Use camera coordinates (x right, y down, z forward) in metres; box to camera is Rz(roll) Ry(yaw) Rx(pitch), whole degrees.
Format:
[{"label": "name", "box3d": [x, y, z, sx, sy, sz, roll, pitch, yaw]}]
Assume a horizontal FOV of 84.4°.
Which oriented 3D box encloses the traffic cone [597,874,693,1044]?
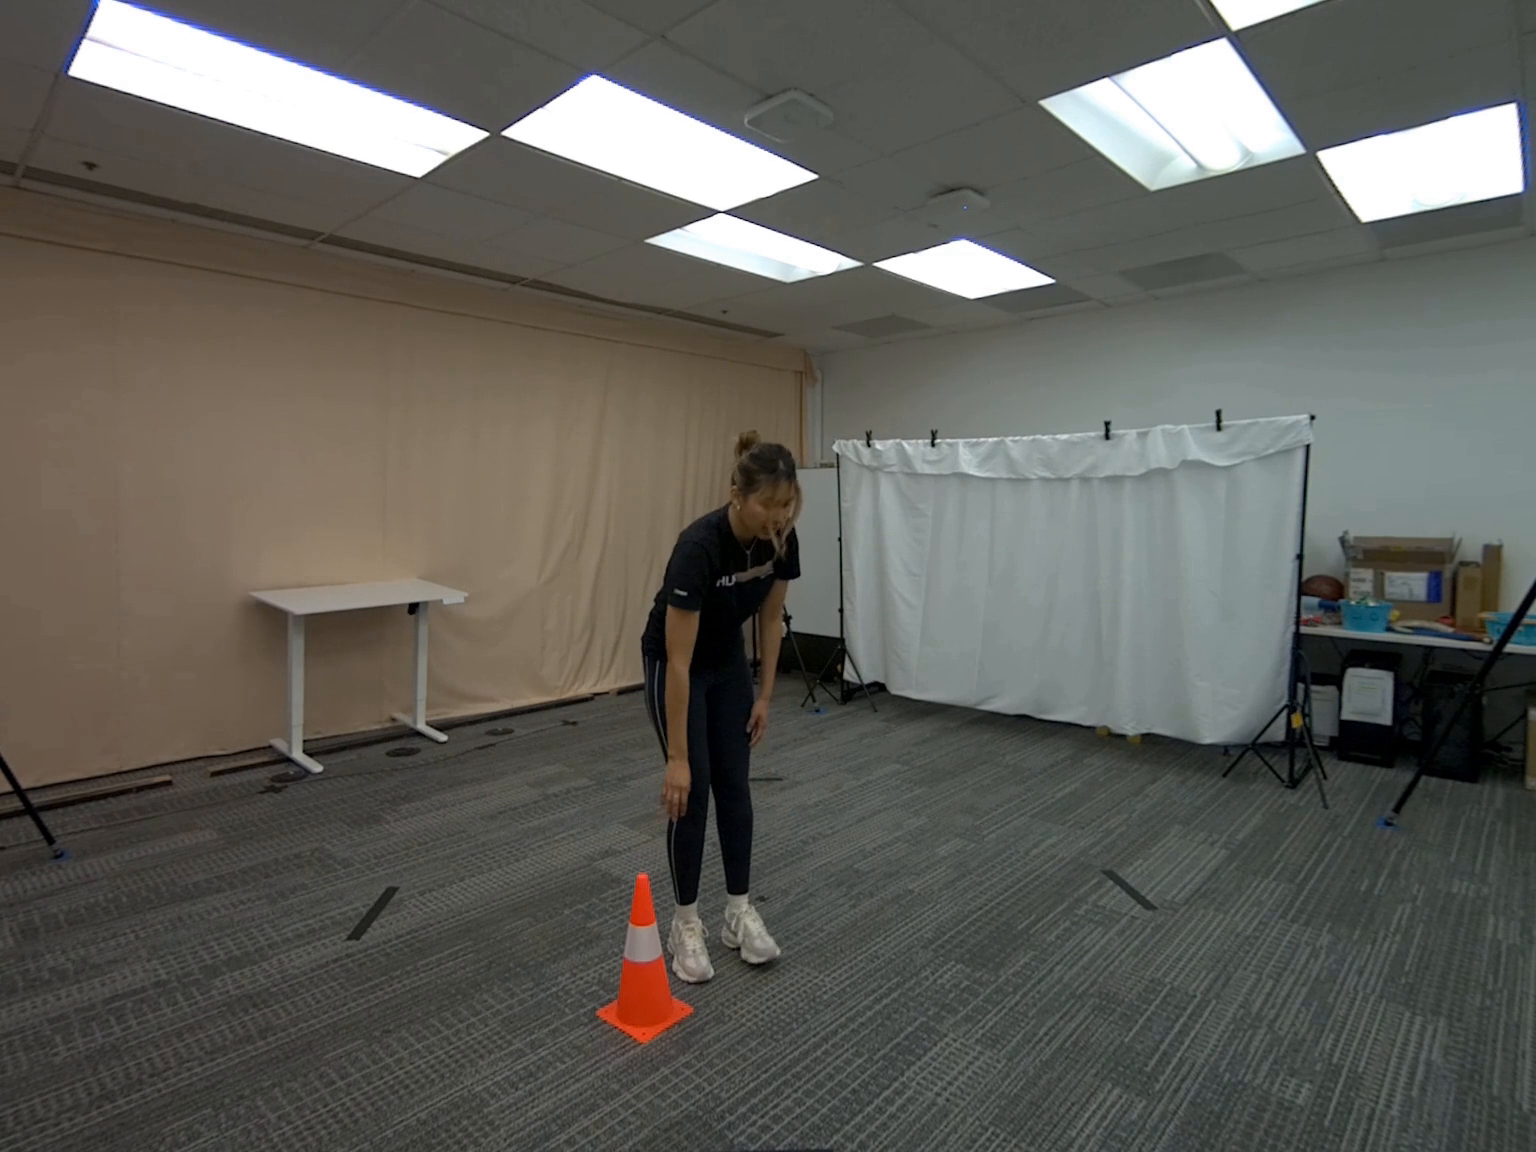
[{"label": "traffic cone", "box3d": [-0.341, 1.014, 2.312, 0.197, 0.383, 0.211, -1, 0, -43]}]
